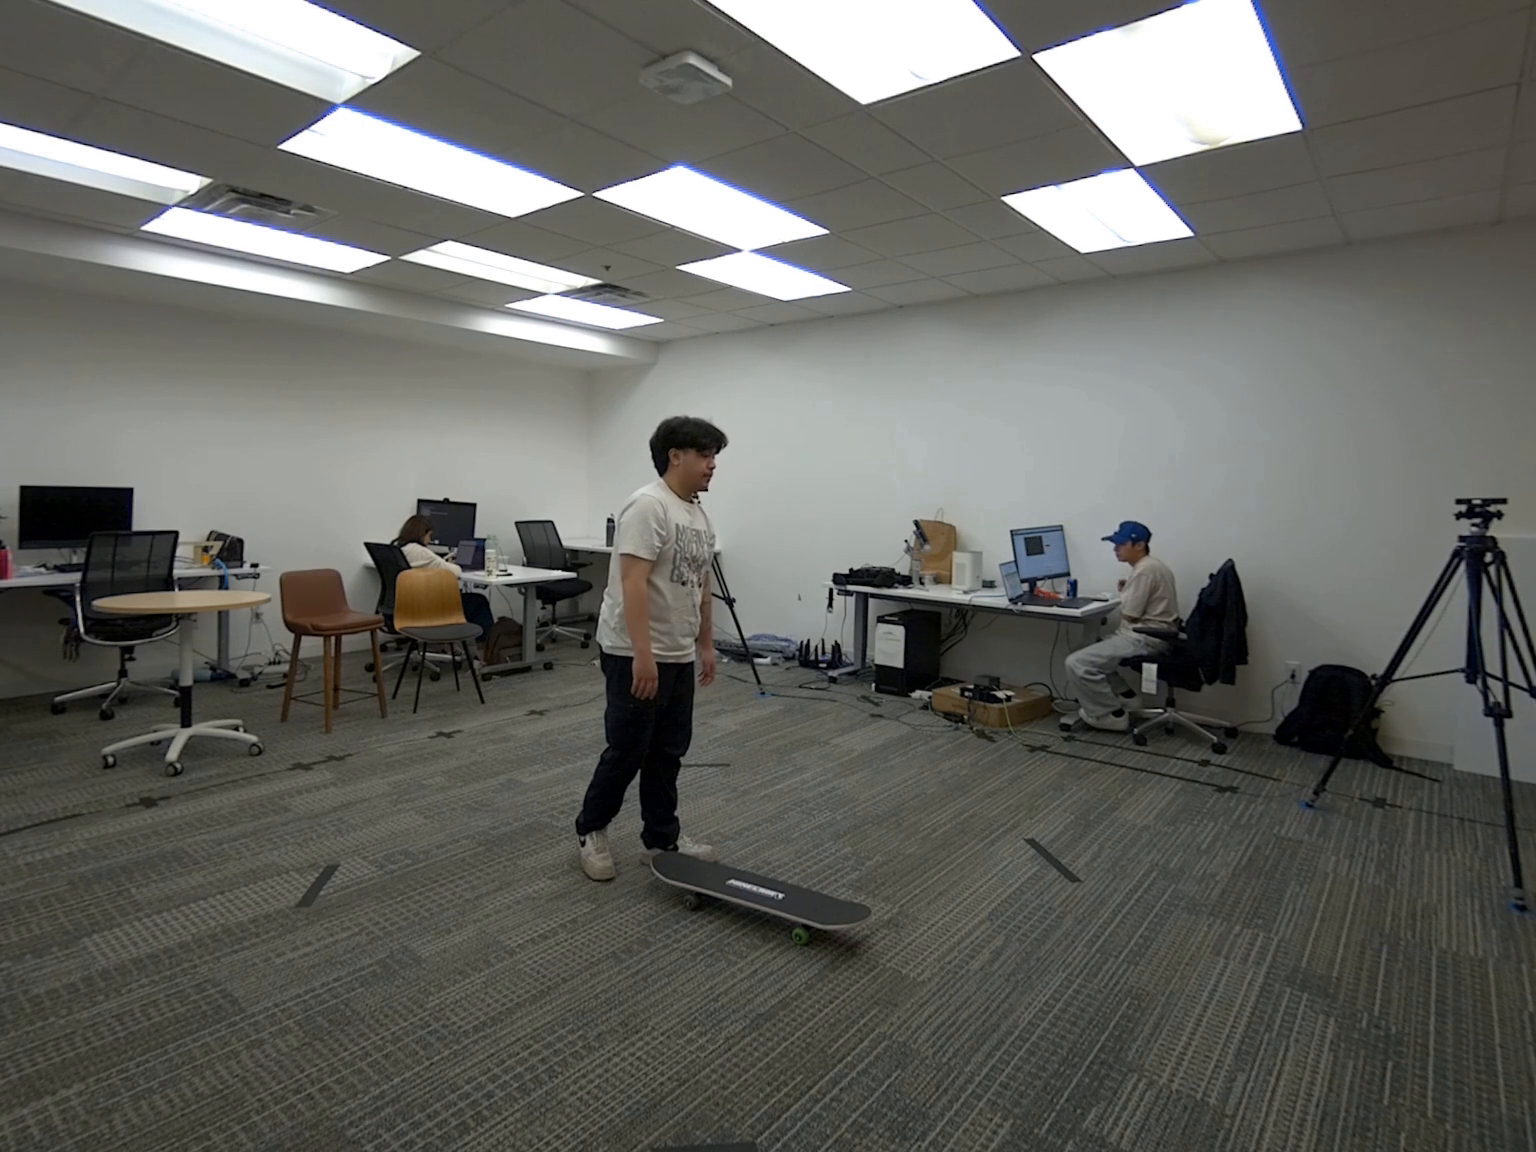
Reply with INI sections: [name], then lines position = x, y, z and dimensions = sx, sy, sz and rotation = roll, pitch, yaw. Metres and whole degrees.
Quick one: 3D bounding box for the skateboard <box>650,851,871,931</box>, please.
[skateboard]
position = -0.050, 1.050, 2.768
dimensions = 0.808, 0.110, 0.189
rotation = 4, 5, 28
